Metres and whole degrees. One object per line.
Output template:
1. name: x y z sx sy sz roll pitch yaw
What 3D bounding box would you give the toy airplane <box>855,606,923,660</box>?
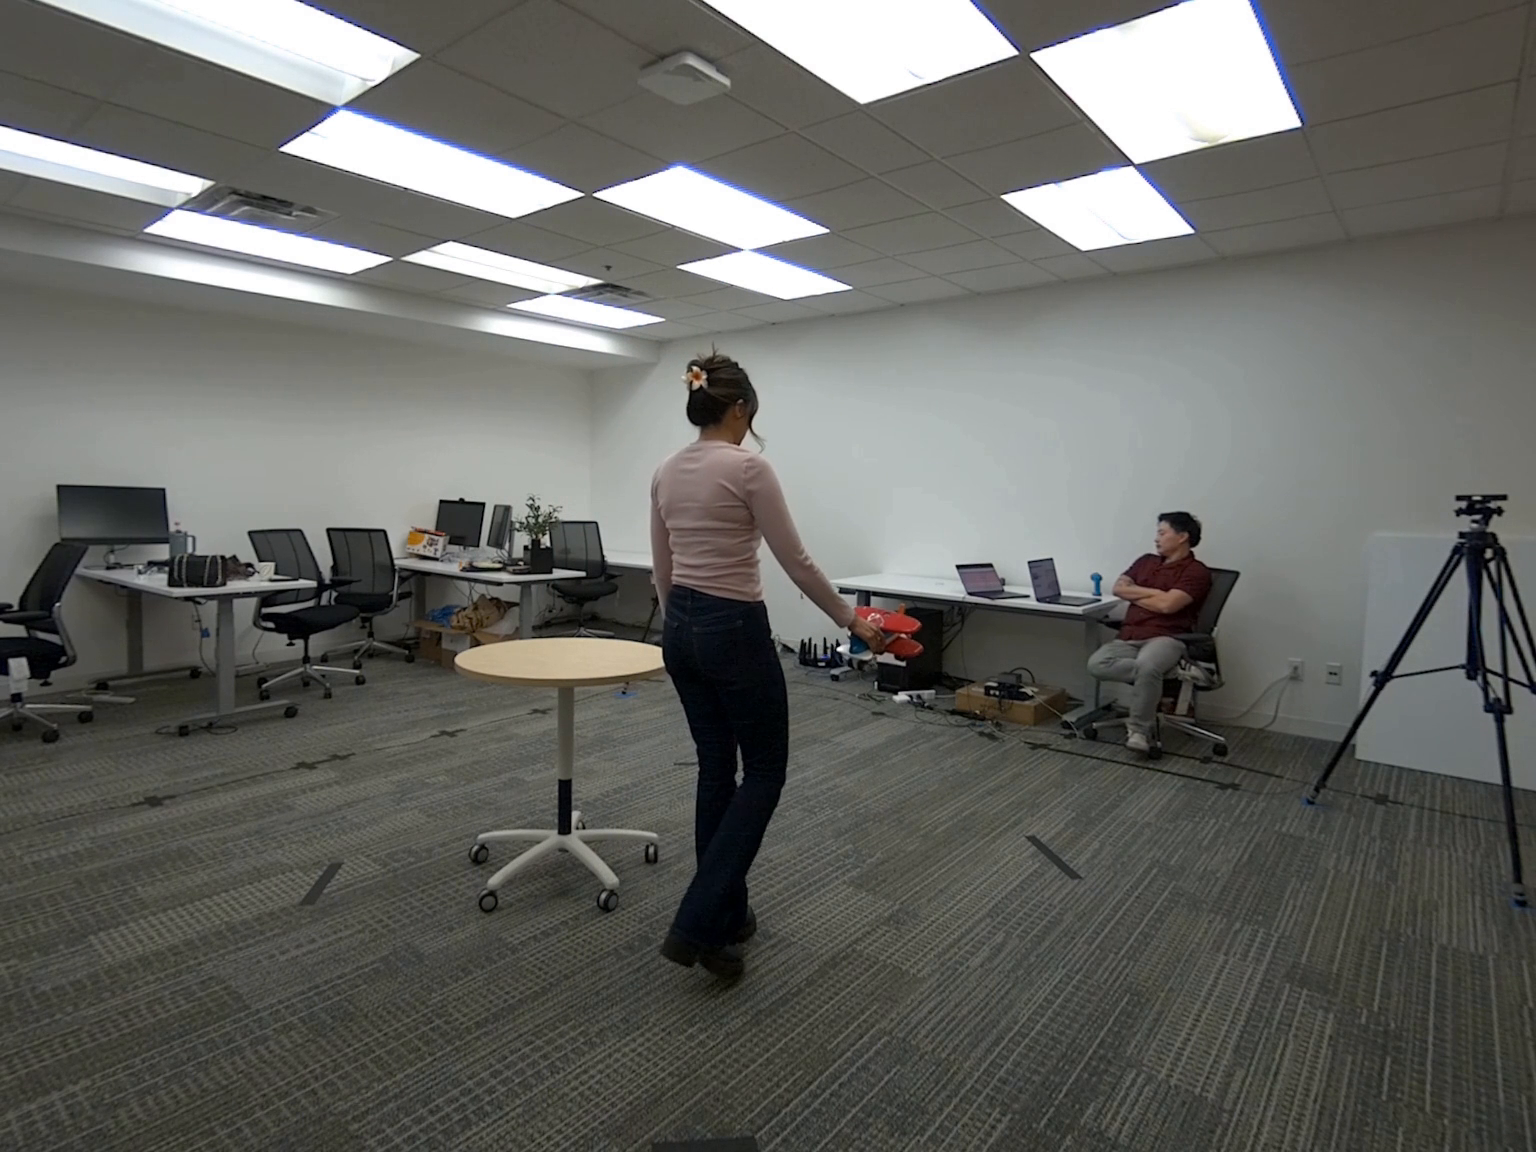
1. toy airplane: 0.340 0.196 2.608 0.256 0.155 0.256 8 10 14
